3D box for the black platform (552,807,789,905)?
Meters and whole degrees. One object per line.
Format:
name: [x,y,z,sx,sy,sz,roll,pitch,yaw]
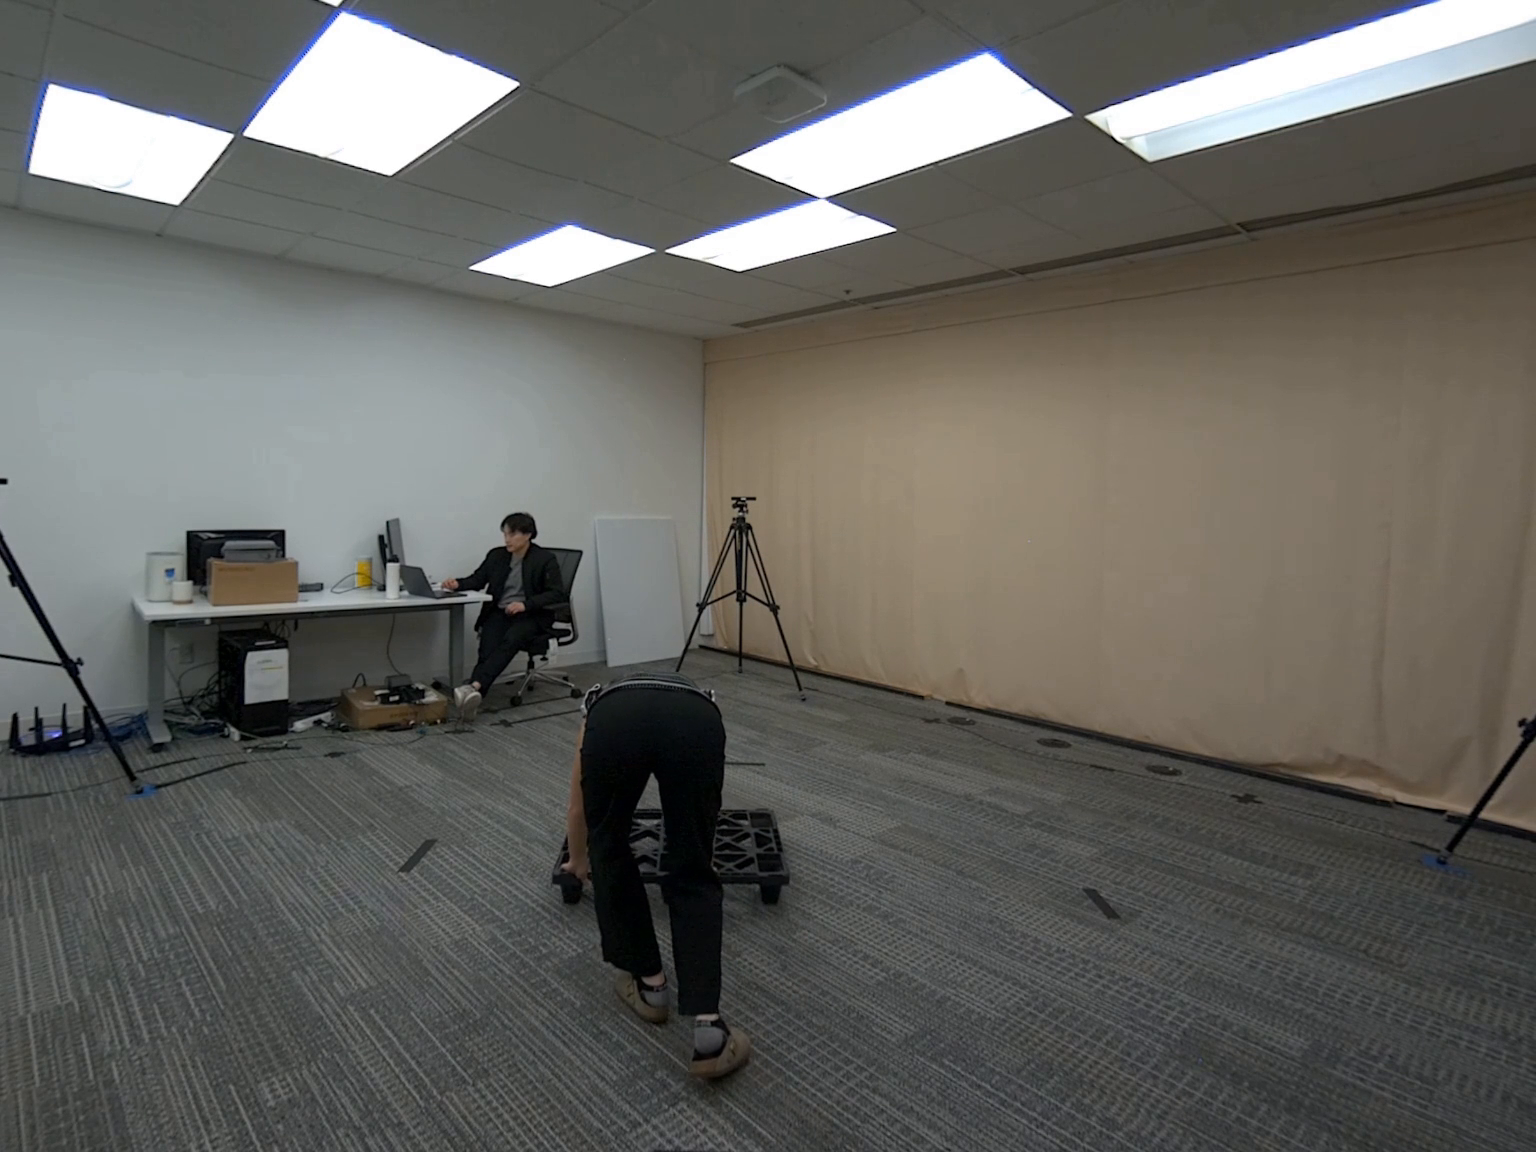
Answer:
black platform: [-0.359,1.034,3.109,0.803,0.143,0.608,1,4,-3]
